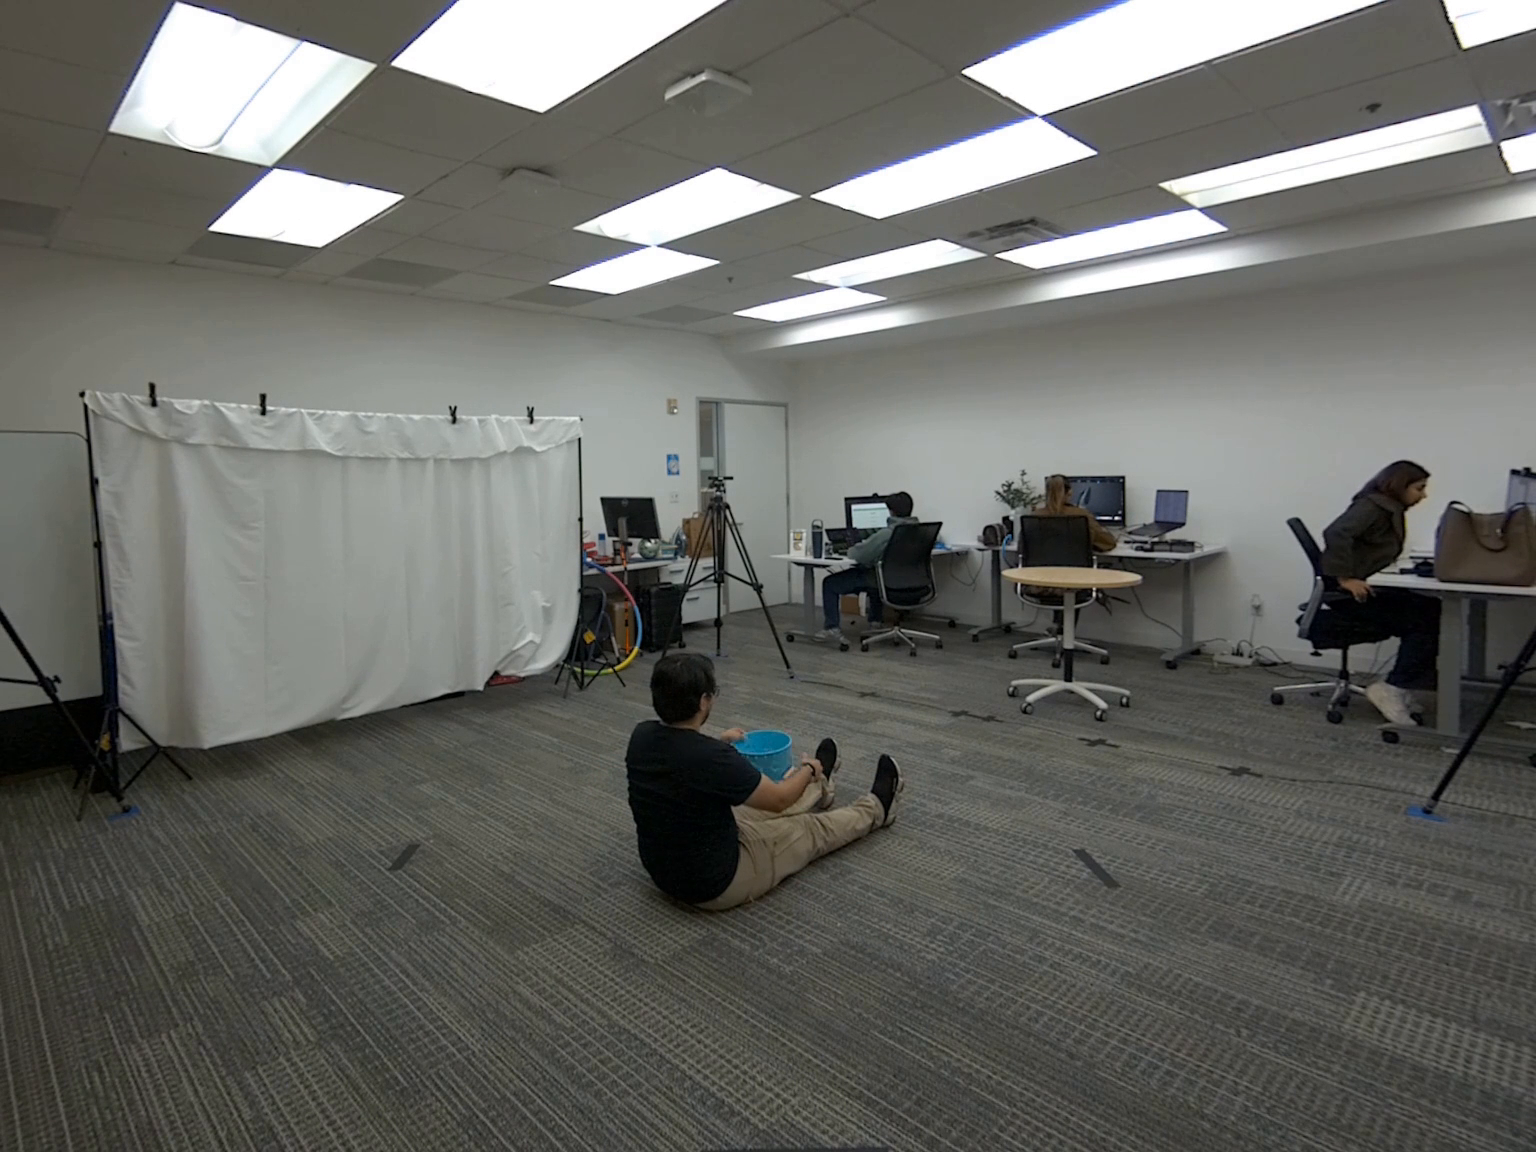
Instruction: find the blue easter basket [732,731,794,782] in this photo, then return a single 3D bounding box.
[{"bbox_3d":[-0.020,0.714,3.235,0.243,0.154,0.246,-5,10,-1],"label":"blue easter basket"}]
